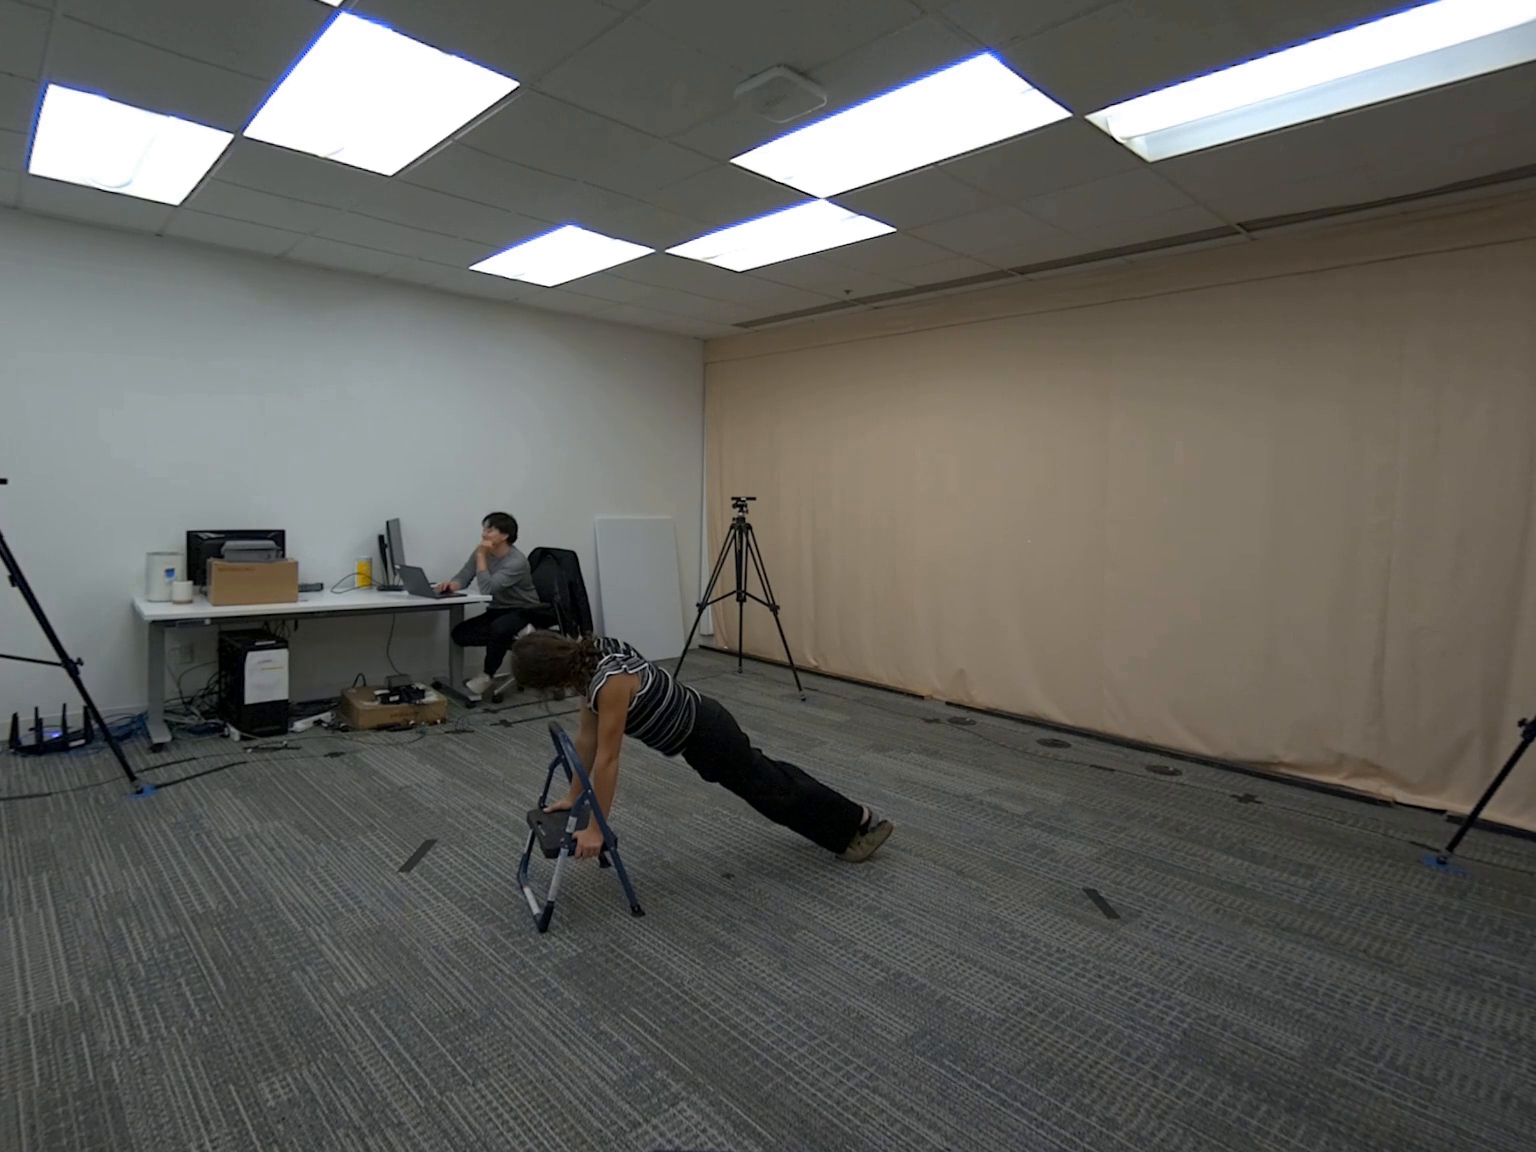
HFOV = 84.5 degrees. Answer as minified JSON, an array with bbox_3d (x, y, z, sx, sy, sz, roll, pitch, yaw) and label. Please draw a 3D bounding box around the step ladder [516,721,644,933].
[{"bbox_3d":[-0.662,0.815,2.900,0.343,0.604,0.440,-1,4,-27],"label":"step ladder"}]
